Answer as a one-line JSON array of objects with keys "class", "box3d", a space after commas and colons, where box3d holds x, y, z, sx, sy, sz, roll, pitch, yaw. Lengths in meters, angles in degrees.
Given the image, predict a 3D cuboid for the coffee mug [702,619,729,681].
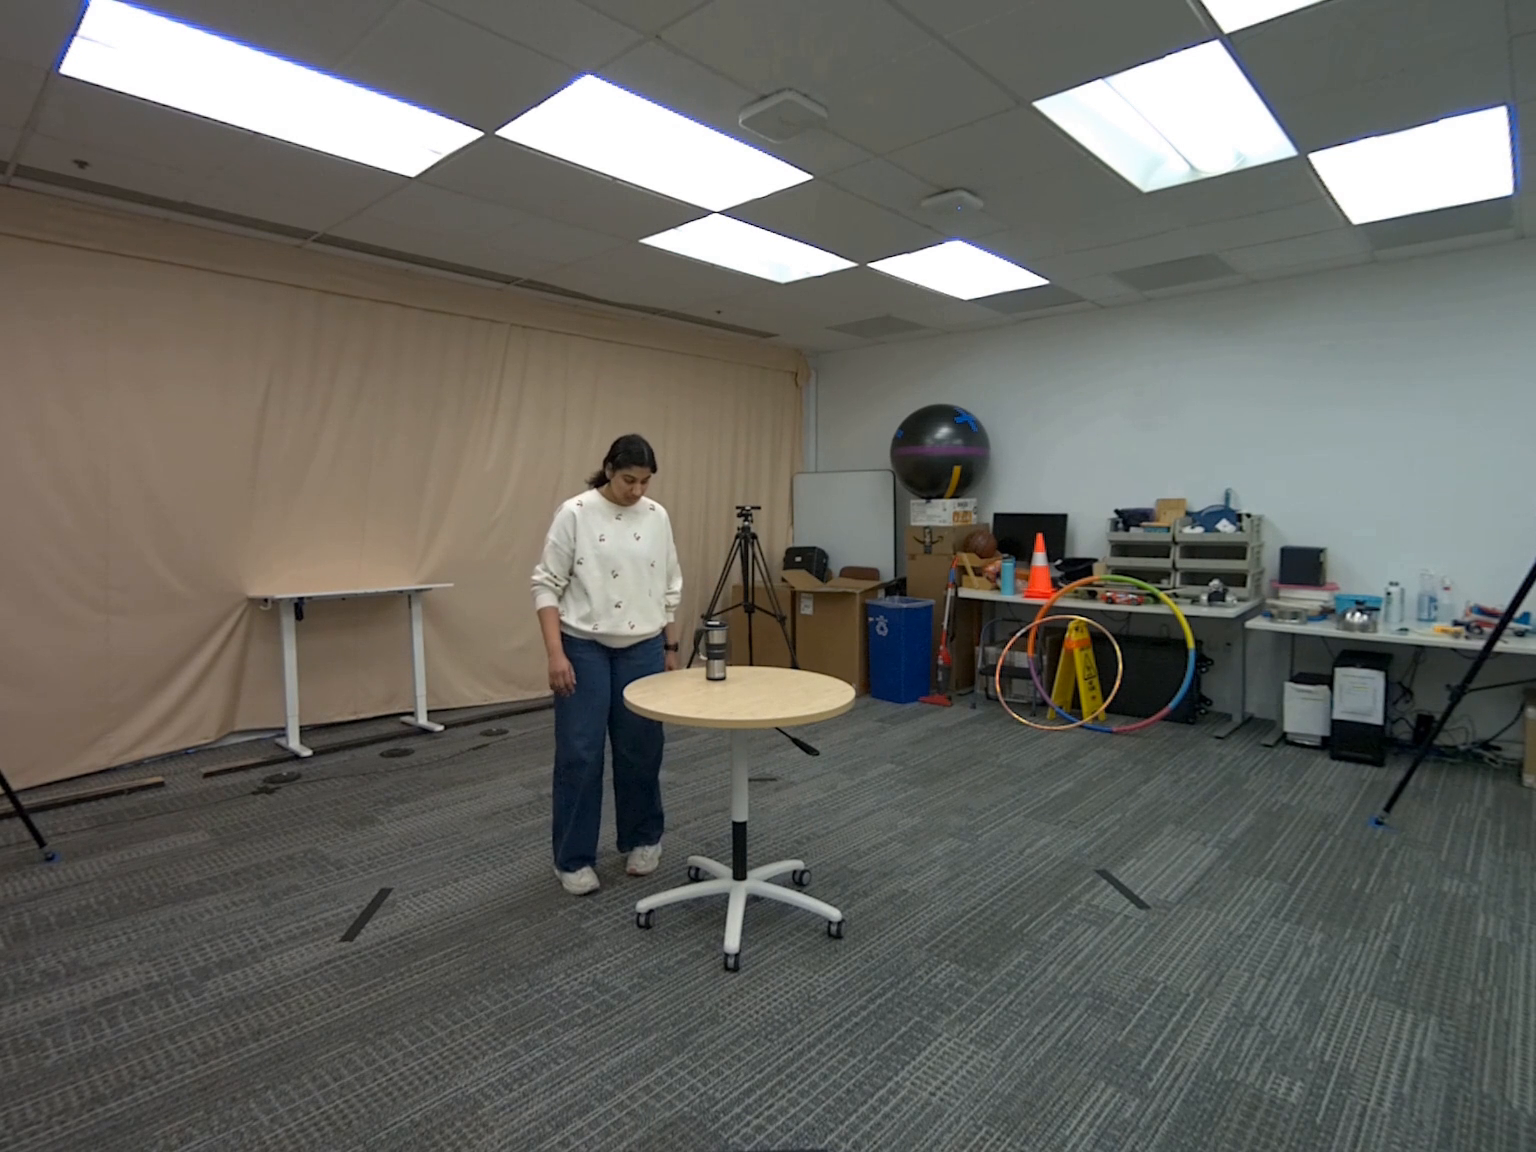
[{"class": "coffee mug", "box3d": [-0.160, 0.264, 2.943, 0.122, 0.203, 0.088, -5, 0, -3]}]
